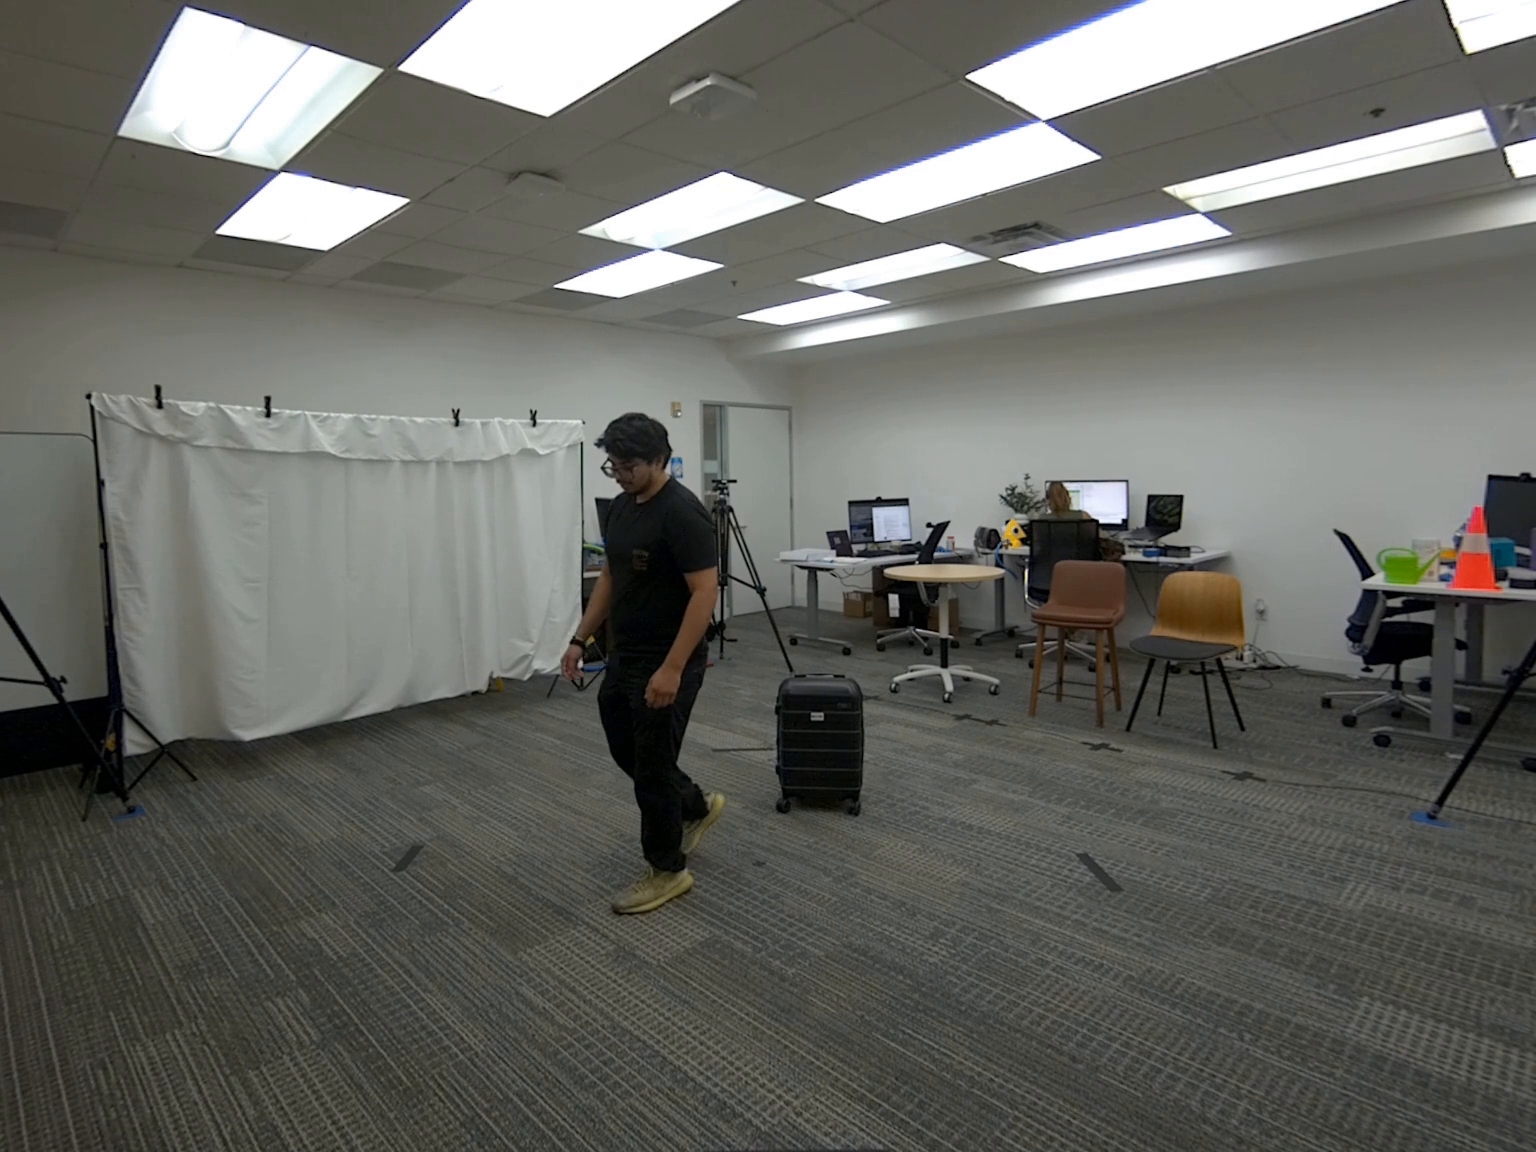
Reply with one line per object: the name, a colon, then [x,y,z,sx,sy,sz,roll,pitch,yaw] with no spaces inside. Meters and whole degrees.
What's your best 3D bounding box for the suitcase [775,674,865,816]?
suitcase: [0.230,0.702,3.680,0.377,0.547,0.248,0,4,5]
